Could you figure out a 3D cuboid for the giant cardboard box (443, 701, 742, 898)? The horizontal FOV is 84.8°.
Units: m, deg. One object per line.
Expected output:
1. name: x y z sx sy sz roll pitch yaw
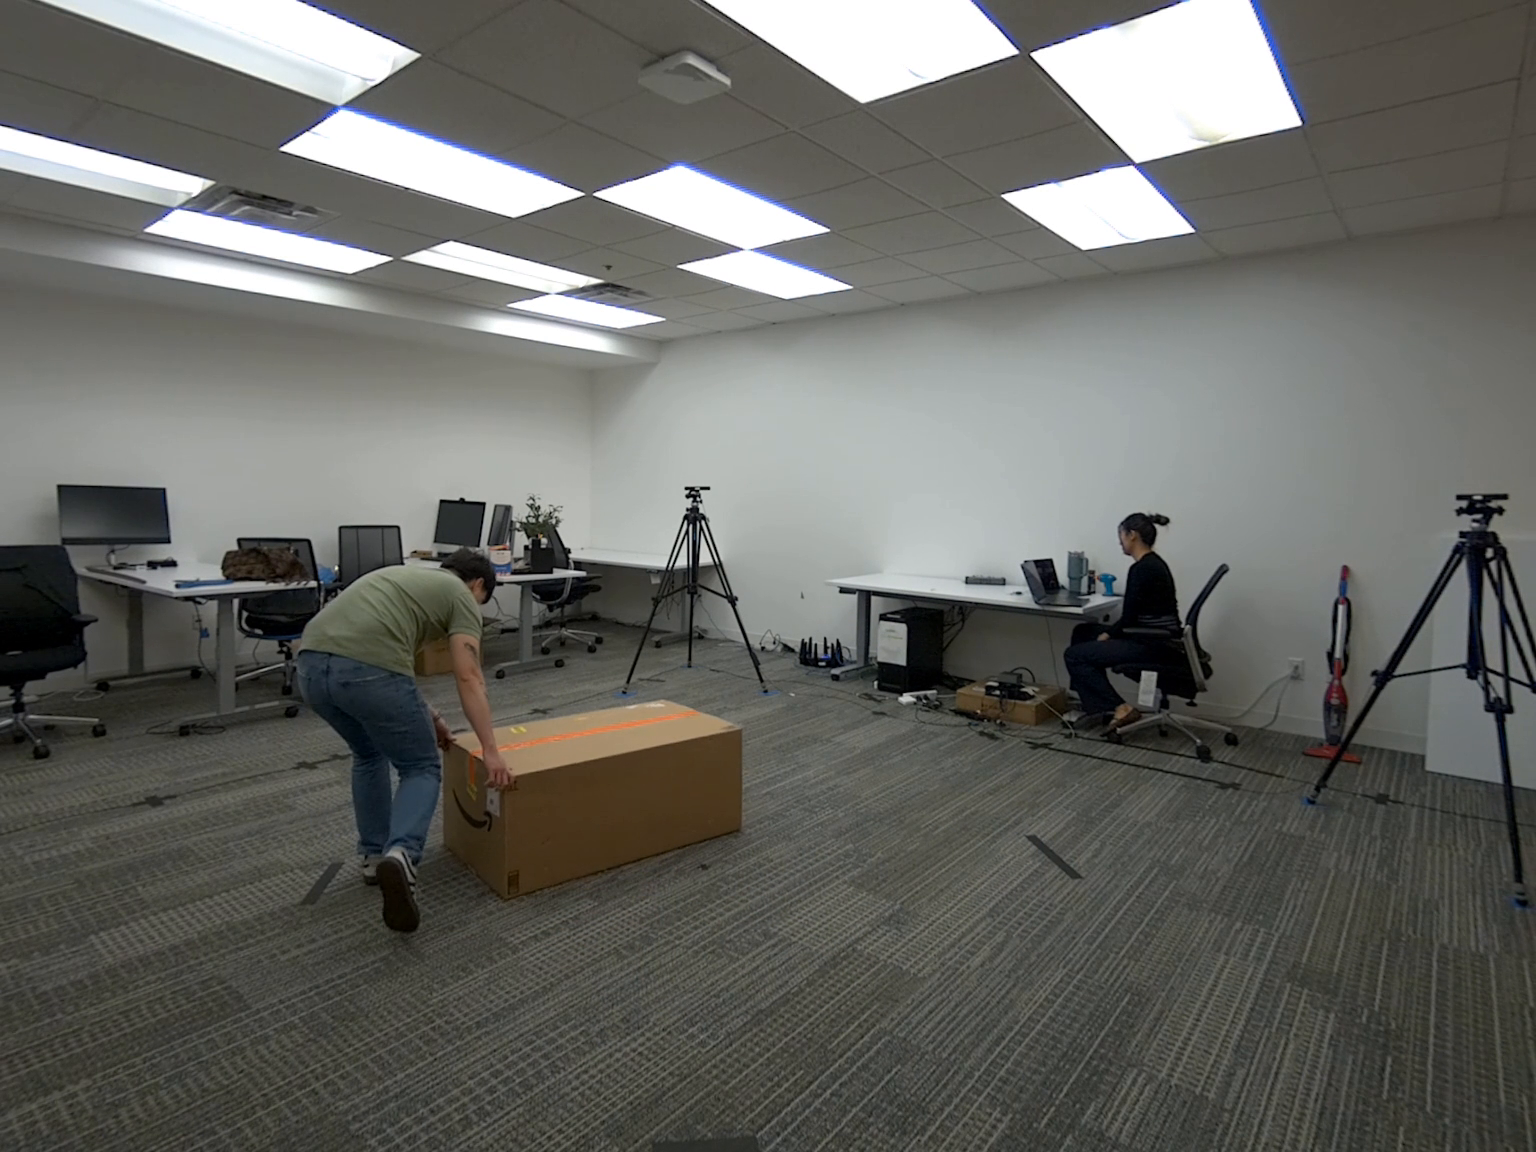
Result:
1. giant cardboard box: -0.684 0.821 3.364 0.996 0.425 0.597 -4 6 -39
